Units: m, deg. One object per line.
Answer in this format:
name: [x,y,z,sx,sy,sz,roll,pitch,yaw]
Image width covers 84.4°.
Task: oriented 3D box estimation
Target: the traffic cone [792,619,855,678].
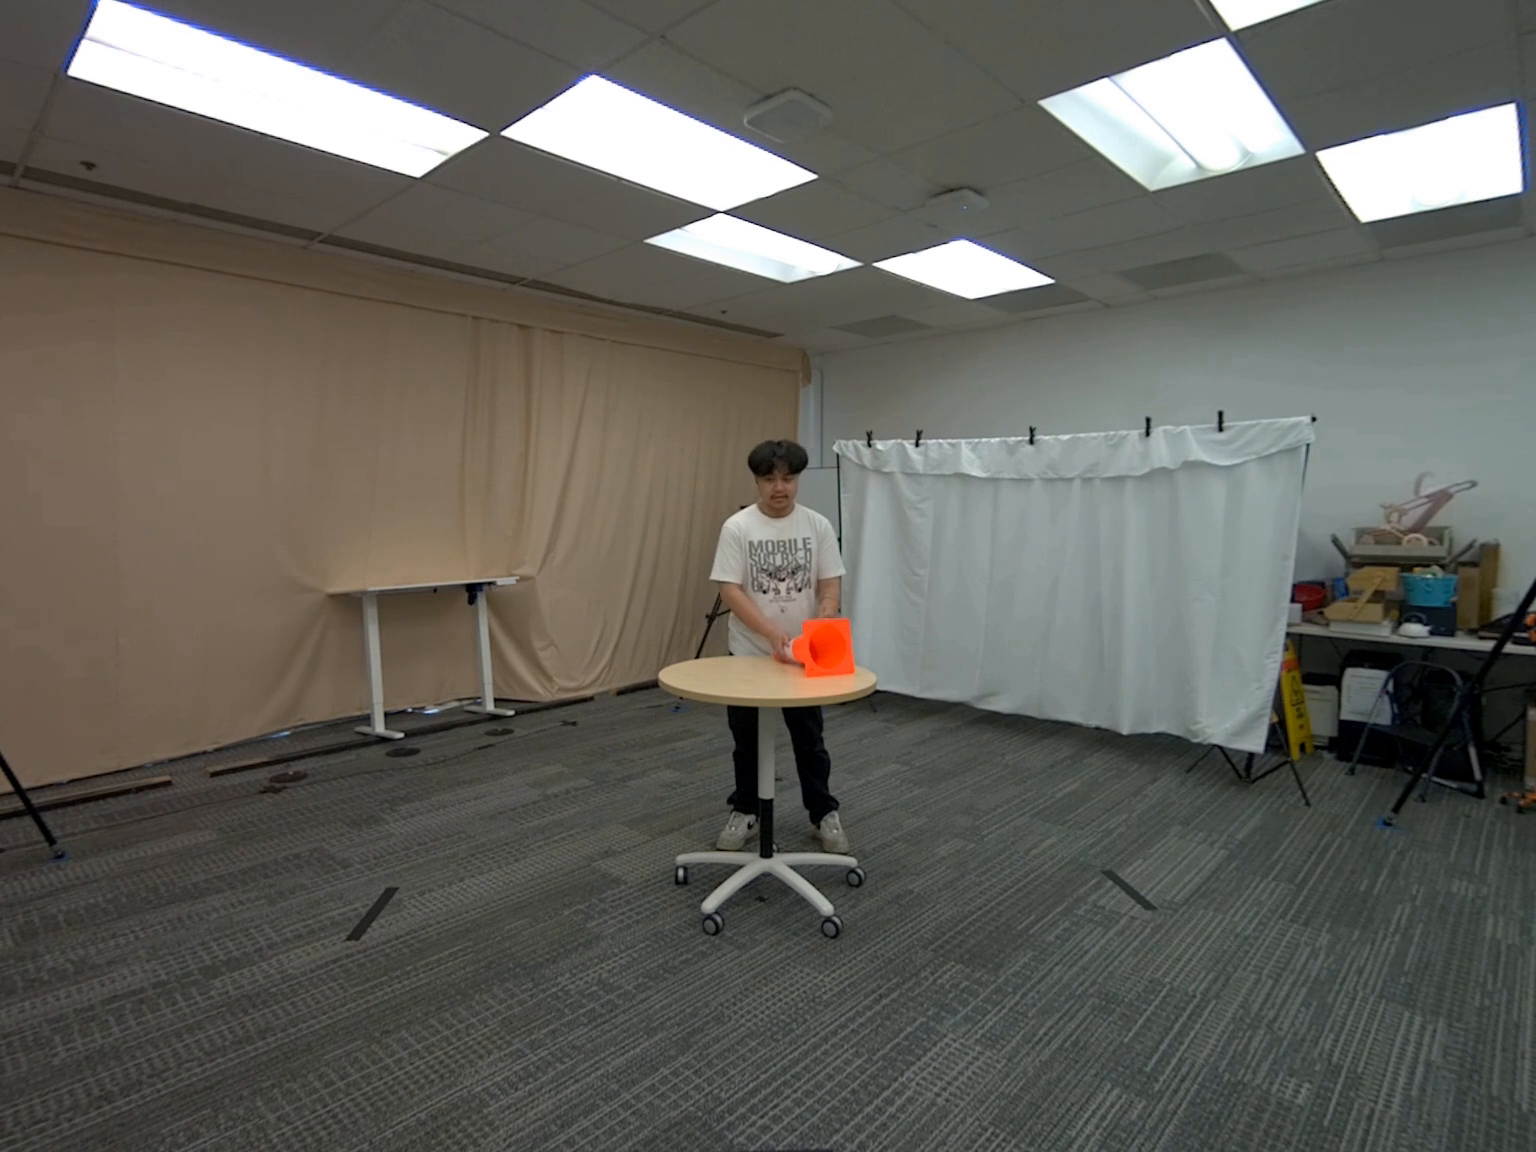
traffic cone: [0.118,0.283,3.140,0.200,0.204,0.390,-5,-7,-26]
